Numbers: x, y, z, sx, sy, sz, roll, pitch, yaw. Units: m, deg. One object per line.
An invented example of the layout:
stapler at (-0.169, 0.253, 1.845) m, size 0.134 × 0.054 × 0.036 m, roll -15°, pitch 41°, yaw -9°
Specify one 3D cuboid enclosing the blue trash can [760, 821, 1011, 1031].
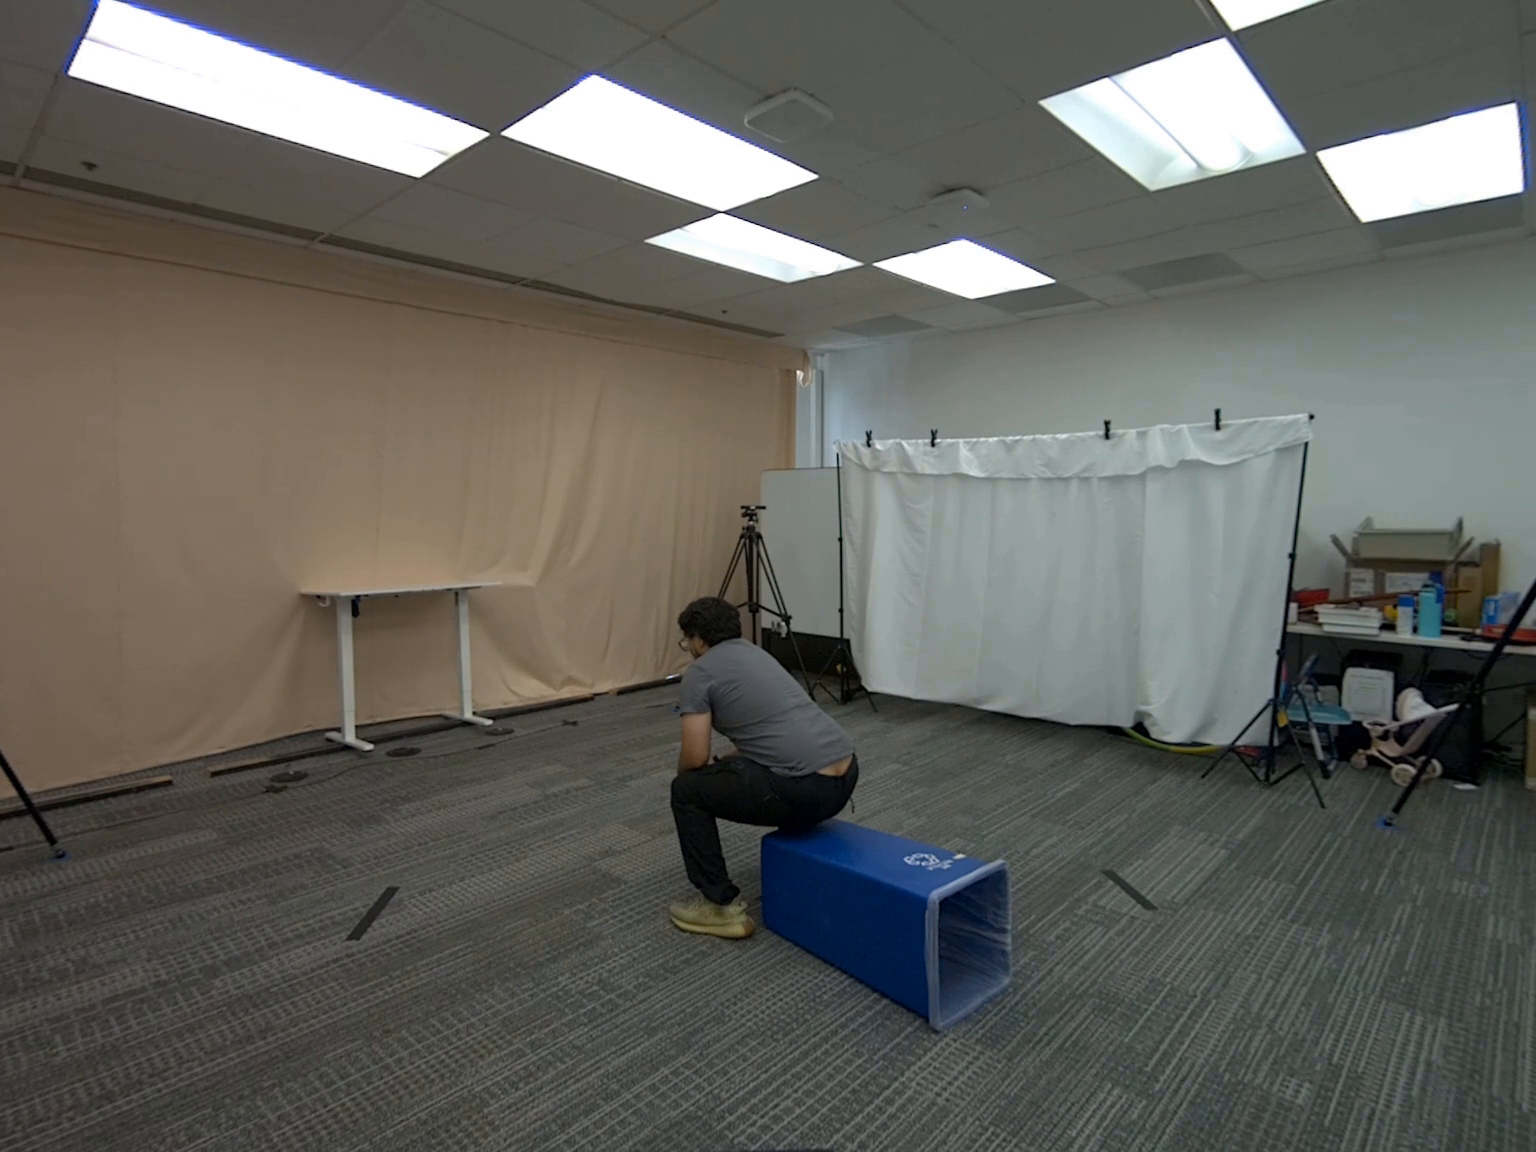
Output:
blue trash can at (0.337, 0.997, 2.588) m, size 0.366 × 0.373 × 0.737 m, roll -3°, pitch 4°, yaw -42°
